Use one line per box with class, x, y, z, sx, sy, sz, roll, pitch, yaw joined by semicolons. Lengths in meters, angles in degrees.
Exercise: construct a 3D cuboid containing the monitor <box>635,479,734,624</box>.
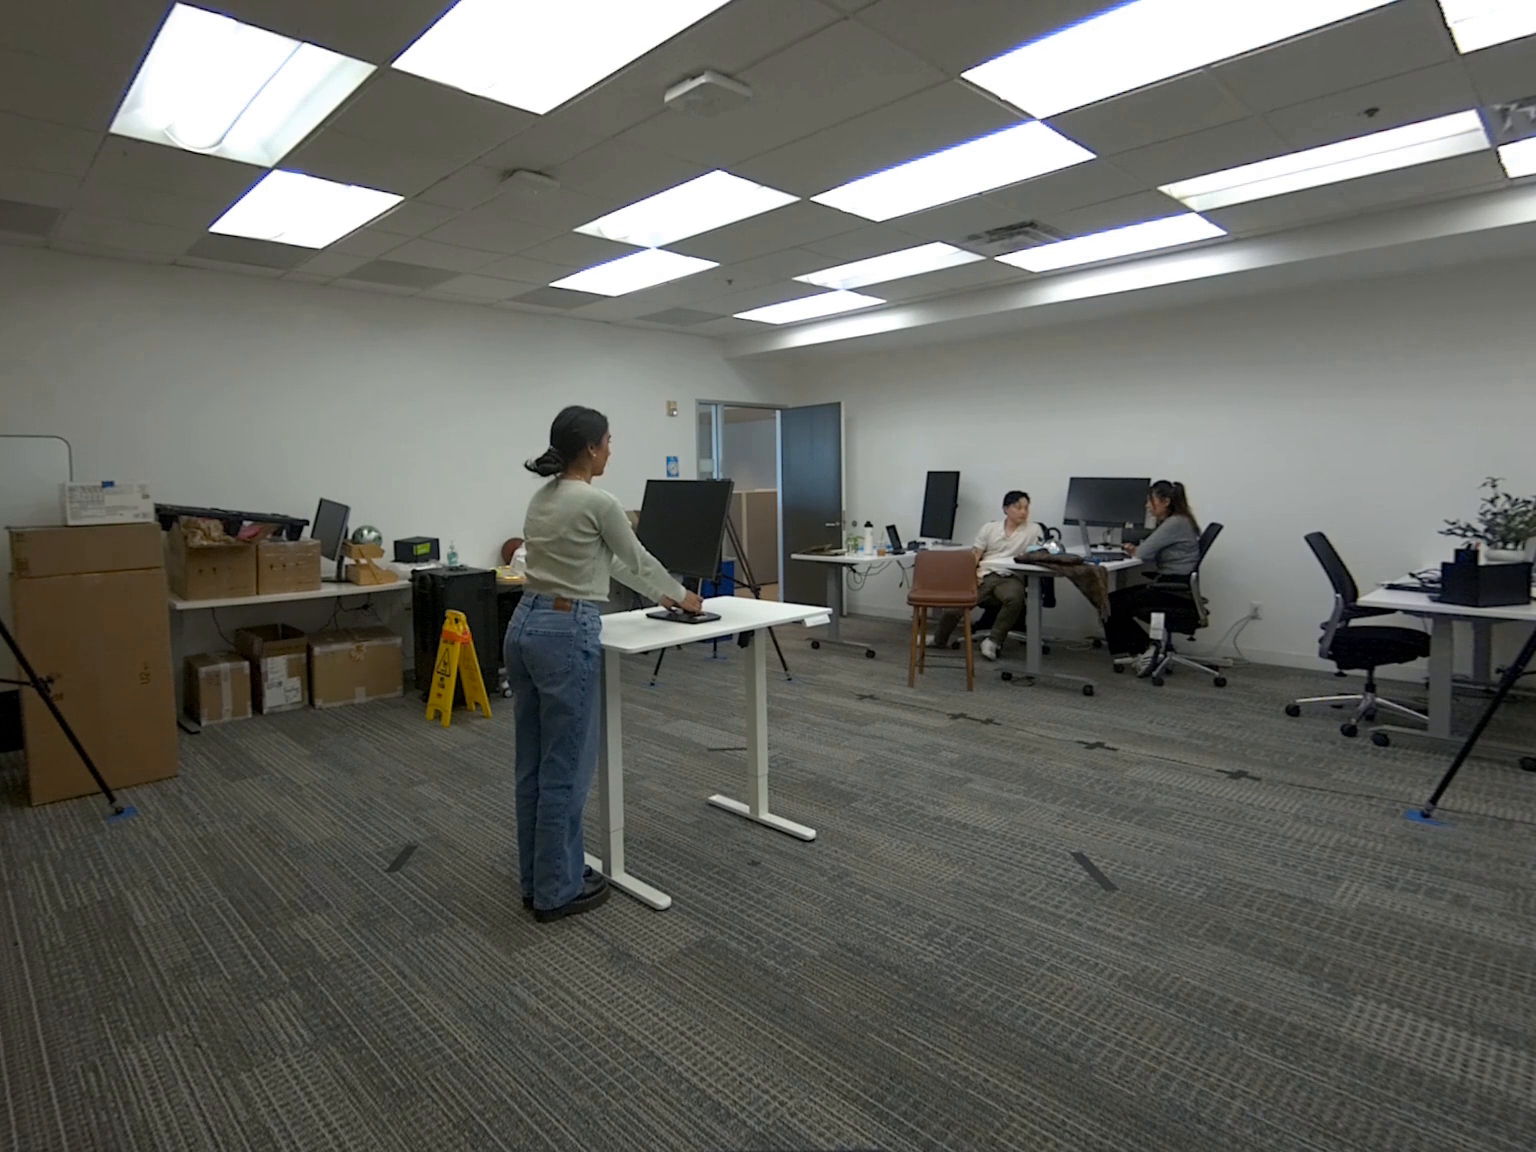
monitor;-0.297;-0.095;3.180;0.182;0.521;0.556;-3;6;-41
